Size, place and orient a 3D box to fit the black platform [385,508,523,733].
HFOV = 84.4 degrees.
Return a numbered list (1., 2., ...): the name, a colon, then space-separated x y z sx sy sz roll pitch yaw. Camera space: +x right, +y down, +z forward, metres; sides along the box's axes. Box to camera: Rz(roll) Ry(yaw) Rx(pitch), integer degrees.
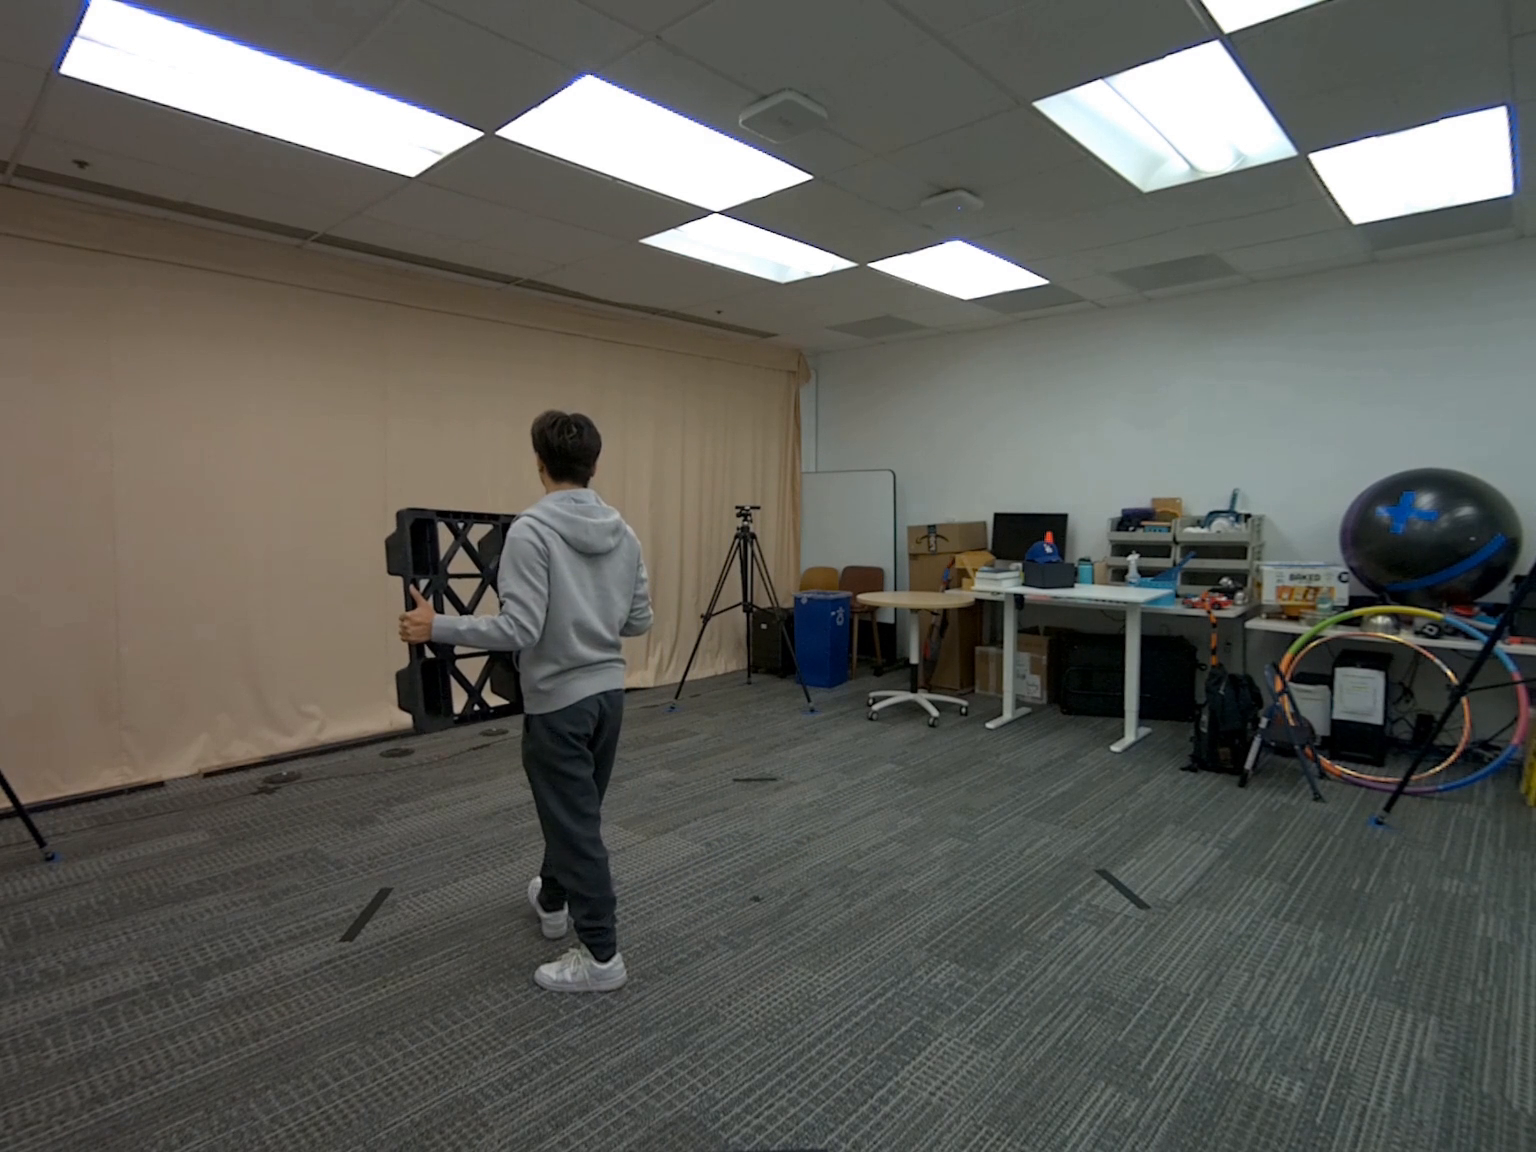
1. black platform: -0.803 0.120 2.587 0.147 0.607 0.783 -9 -5 28
